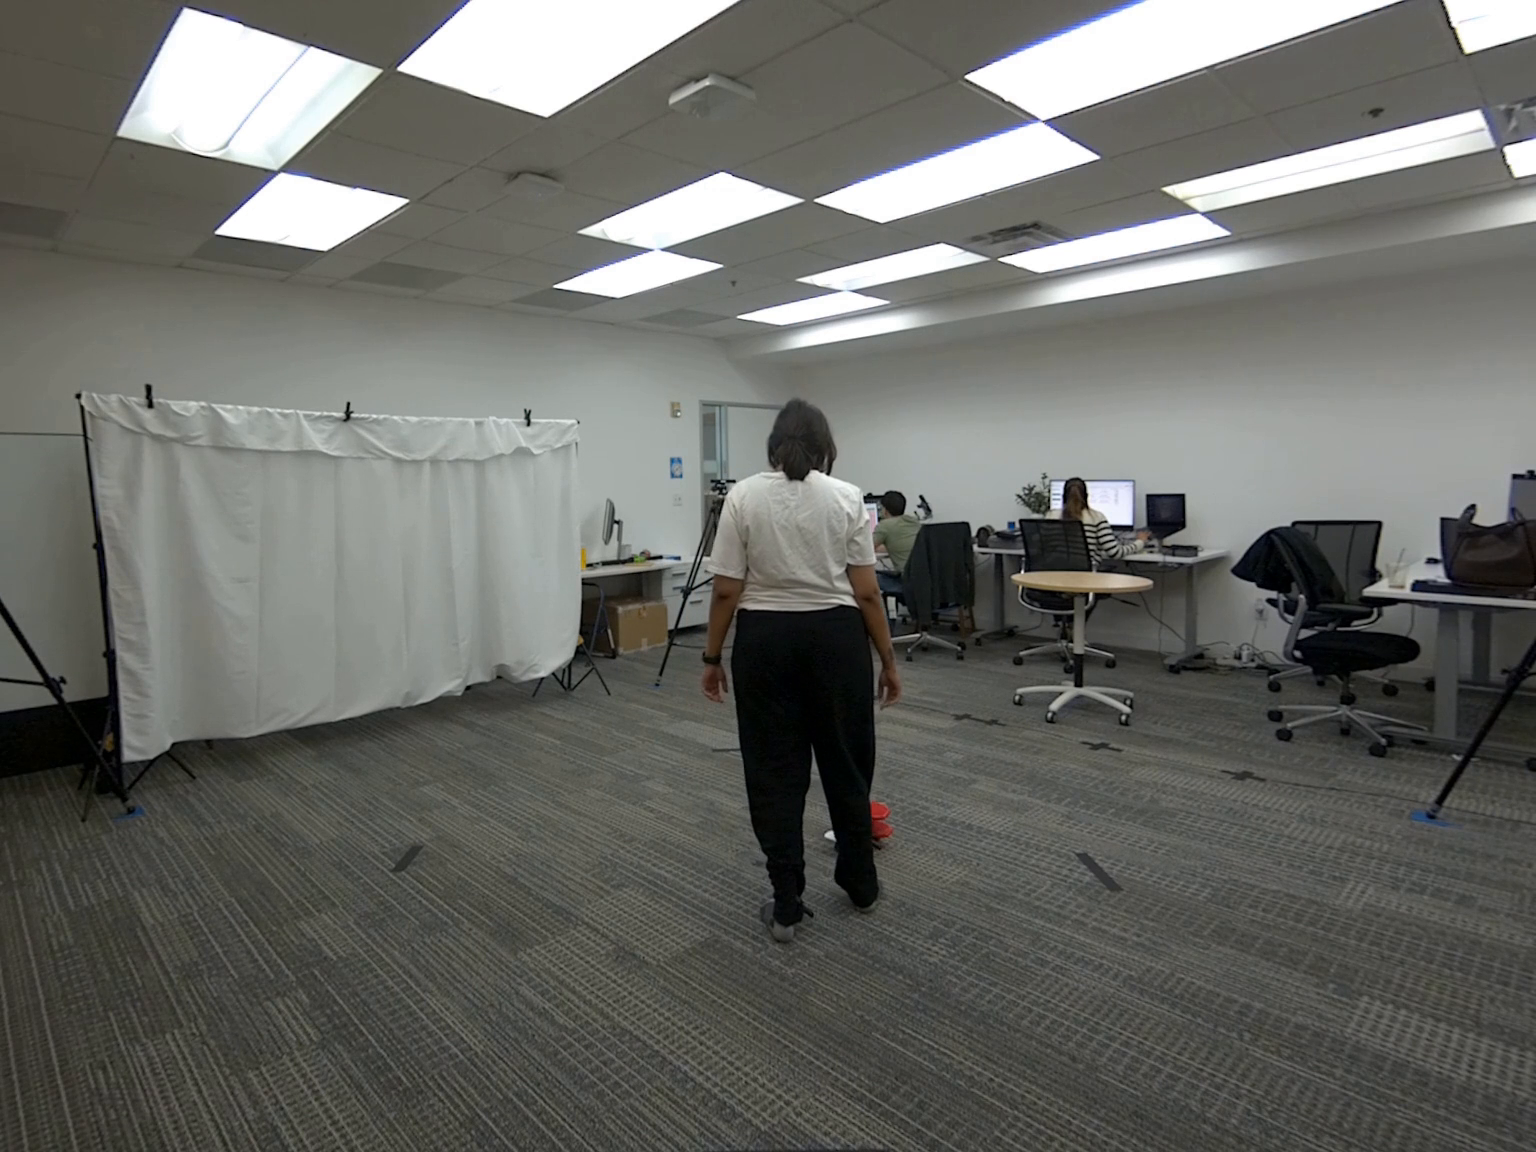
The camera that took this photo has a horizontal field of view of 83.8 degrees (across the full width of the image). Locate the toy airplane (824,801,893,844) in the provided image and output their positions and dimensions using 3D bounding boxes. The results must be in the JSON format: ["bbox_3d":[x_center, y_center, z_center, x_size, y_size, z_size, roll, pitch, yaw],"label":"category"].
[{"bbox_3d":[0.353,0.947,3.248,0.254,0.156,0.257,1,4,13],"label":"toy airplane"}]
